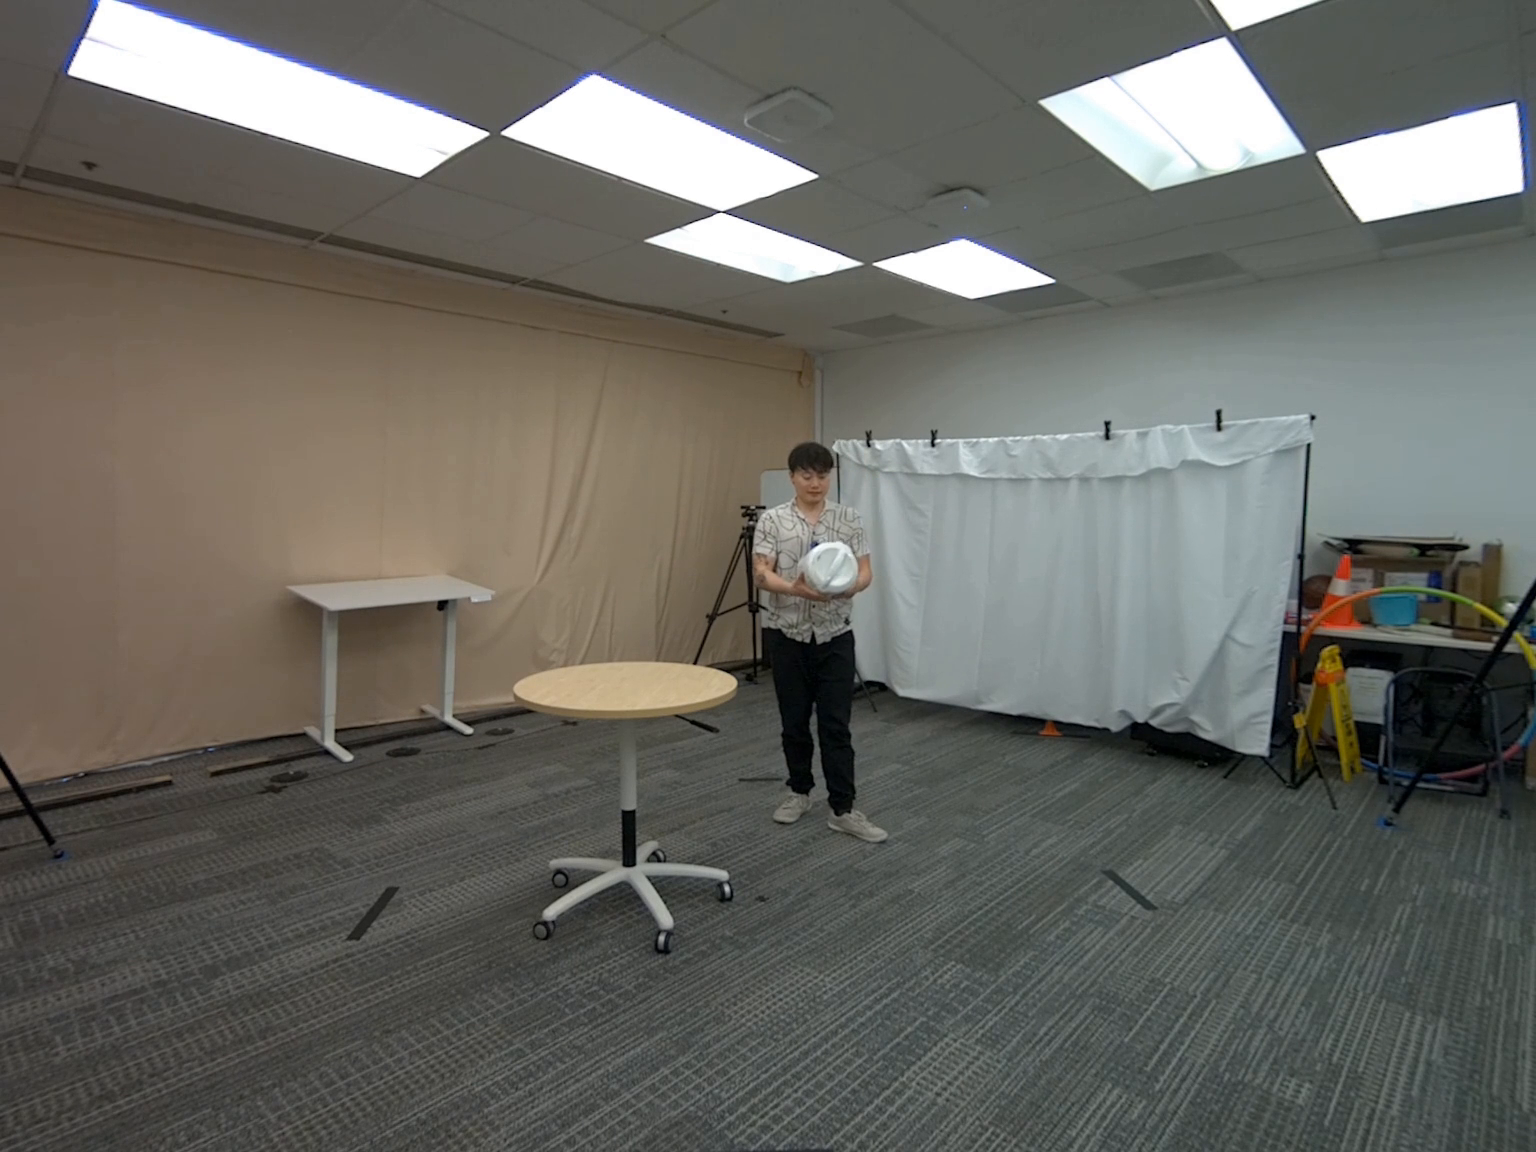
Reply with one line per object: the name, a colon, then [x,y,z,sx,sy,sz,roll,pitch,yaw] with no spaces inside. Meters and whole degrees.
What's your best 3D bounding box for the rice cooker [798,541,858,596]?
rice cooker: [0.247,-0.031,3.362,0.217,0.220,0.233,31,-12,-3]
